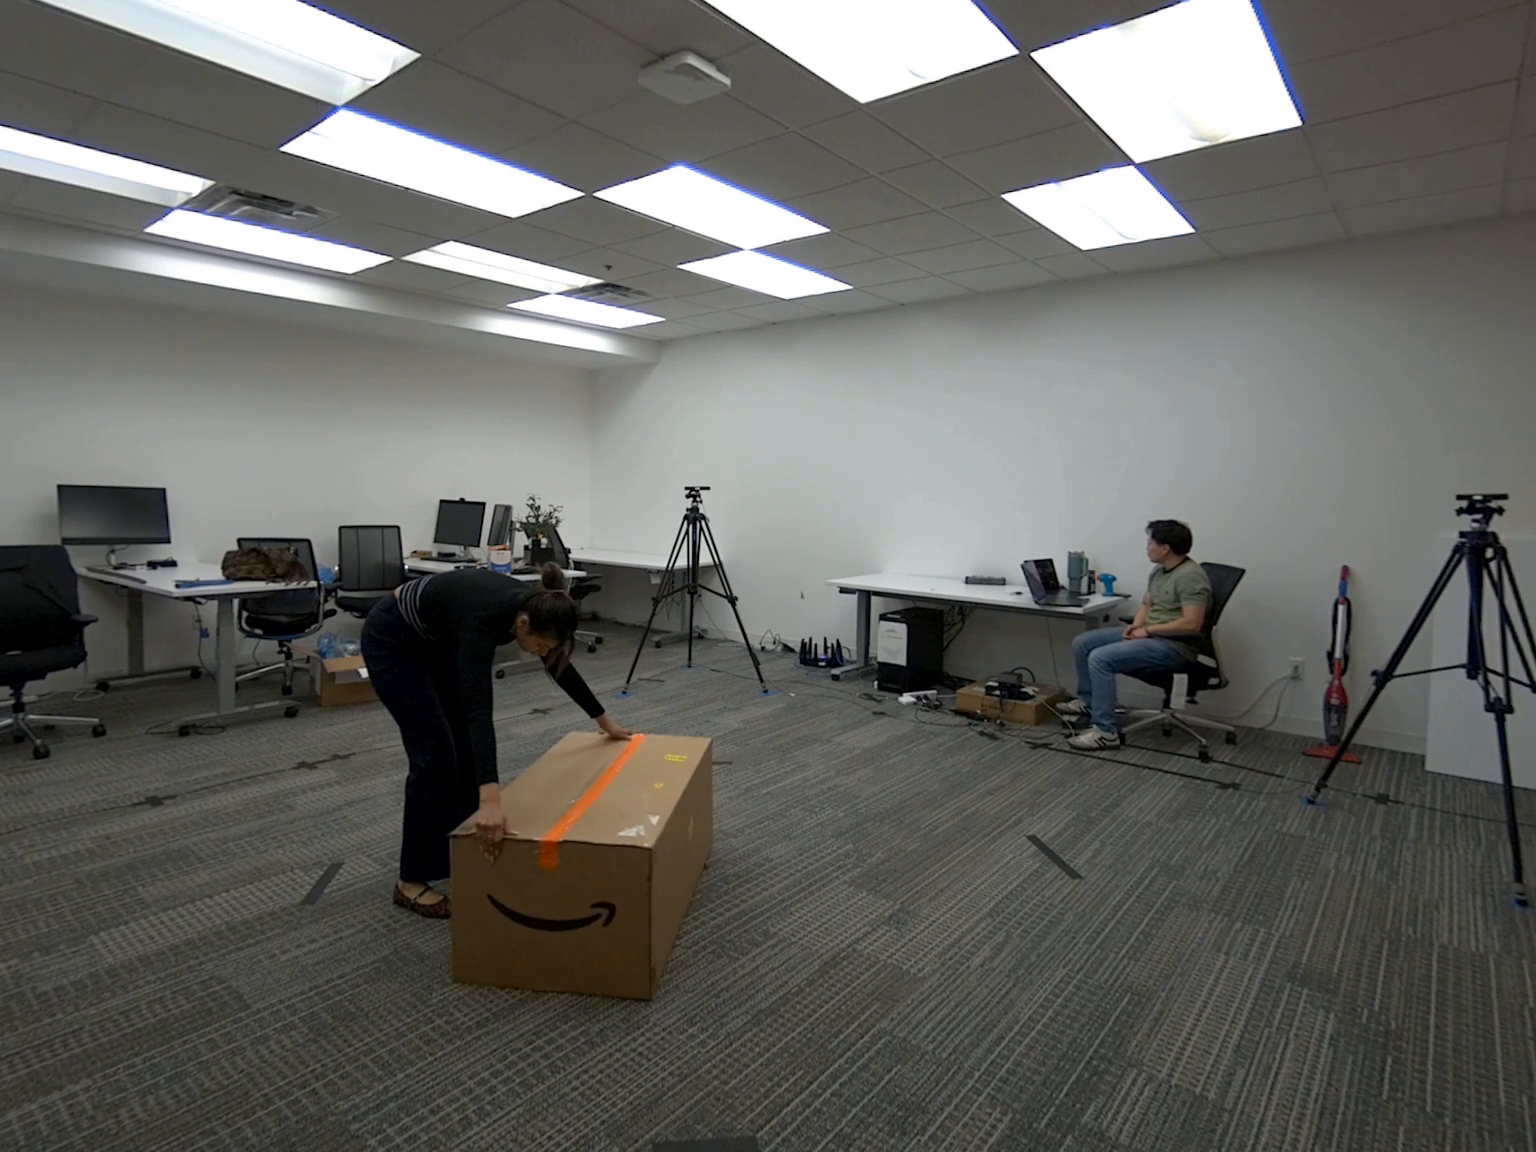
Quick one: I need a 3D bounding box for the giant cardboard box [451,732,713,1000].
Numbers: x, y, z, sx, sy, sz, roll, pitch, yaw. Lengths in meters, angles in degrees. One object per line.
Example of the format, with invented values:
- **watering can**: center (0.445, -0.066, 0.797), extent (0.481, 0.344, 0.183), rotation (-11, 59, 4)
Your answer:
- **giant cardboard box**: center (-0.558, 0.873, 2.821), extent (0.582, 0.424, 1.021), rotation (1, 5, 6)
